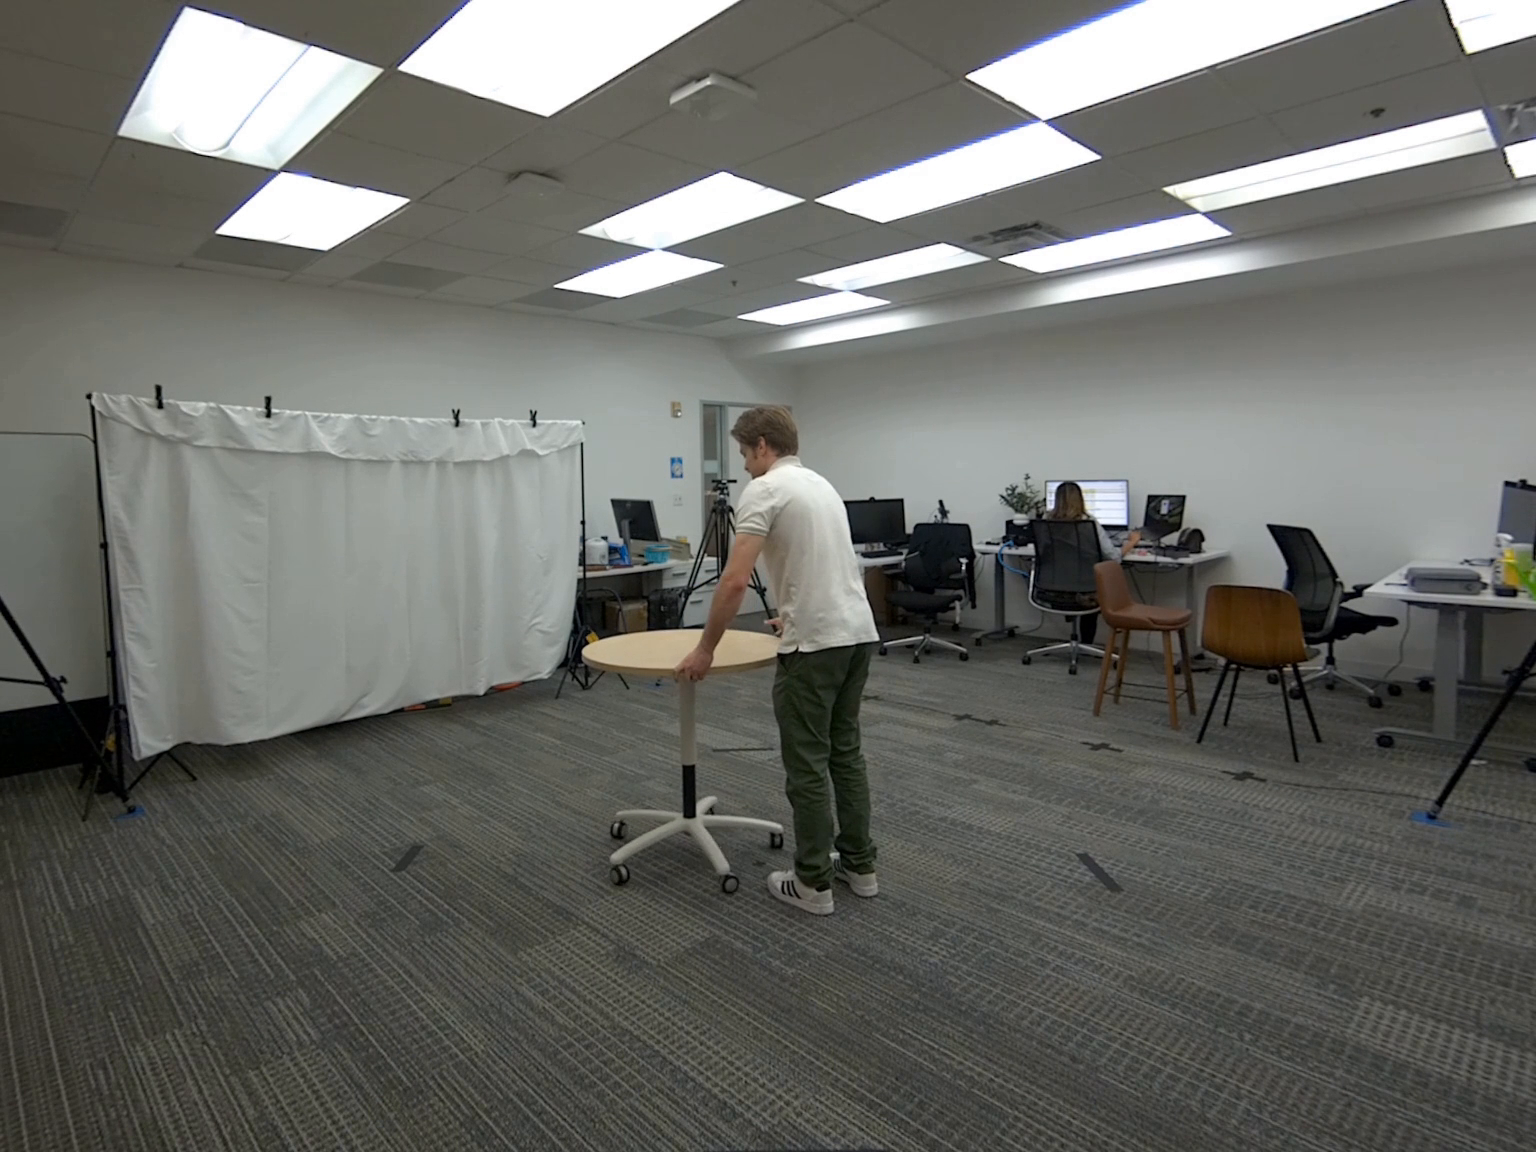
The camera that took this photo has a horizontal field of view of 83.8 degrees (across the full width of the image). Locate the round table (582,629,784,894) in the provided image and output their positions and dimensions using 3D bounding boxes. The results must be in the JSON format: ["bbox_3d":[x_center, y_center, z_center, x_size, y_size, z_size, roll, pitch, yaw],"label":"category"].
[{"bbox_3d":[-0.292,0.652,3.190,0.763,0.791,0.767,-1,4,-2],"label":"round table"}]
